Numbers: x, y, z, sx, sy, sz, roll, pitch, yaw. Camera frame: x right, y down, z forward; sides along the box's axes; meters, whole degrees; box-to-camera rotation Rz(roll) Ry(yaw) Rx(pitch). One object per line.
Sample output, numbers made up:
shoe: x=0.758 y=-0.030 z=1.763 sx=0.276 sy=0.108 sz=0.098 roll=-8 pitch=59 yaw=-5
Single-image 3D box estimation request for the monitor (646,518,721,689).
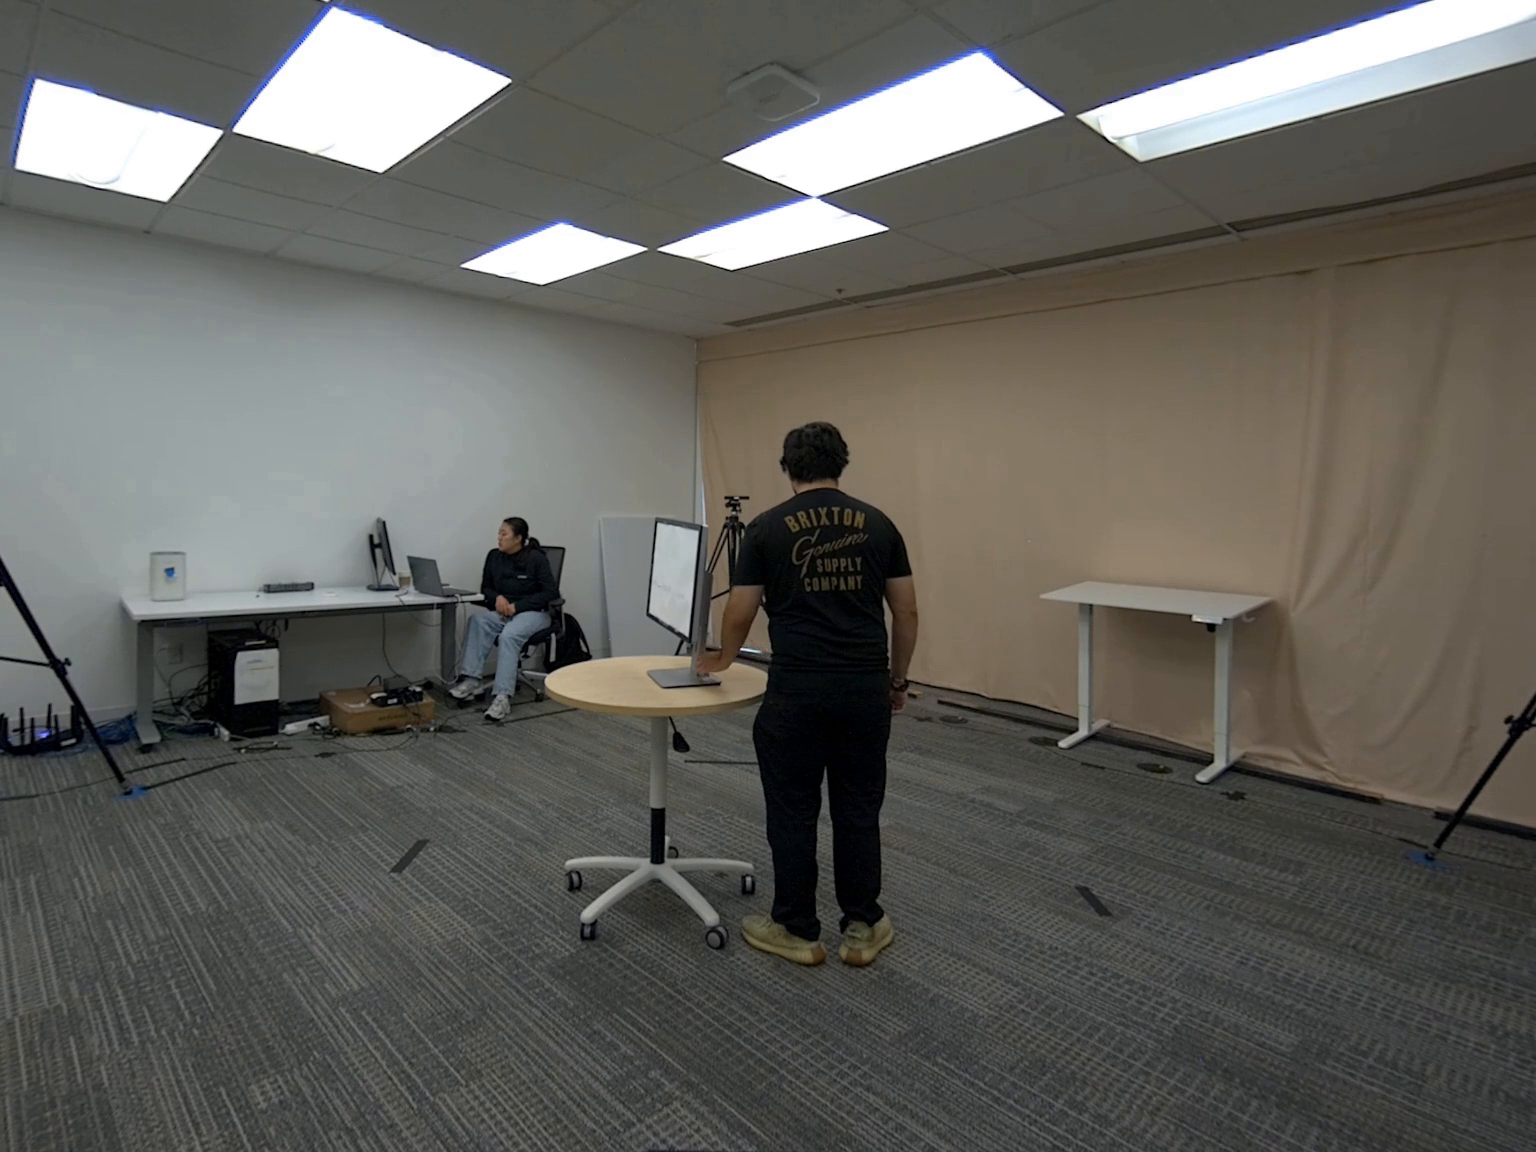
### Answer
monitor: x=-0.261 y=0.086 z=2.826 sx=0.207 sy=0.553 sz=0.575 roll=2 pitch=4 yaw=-21
